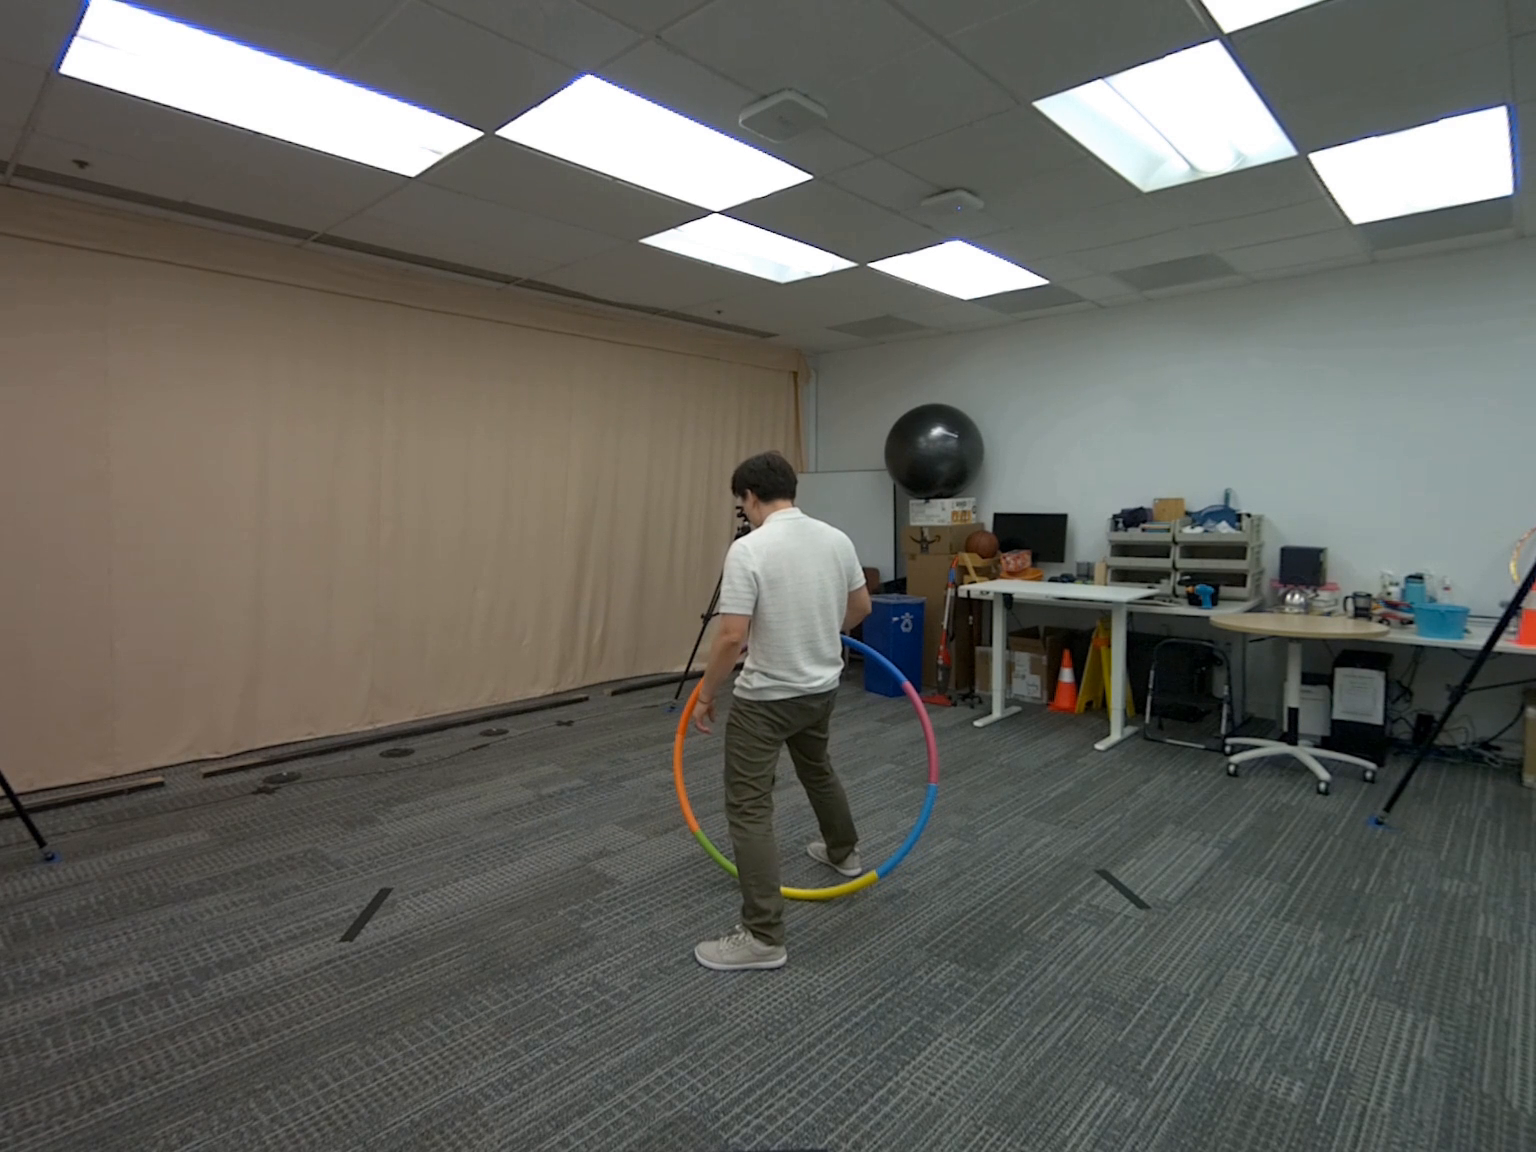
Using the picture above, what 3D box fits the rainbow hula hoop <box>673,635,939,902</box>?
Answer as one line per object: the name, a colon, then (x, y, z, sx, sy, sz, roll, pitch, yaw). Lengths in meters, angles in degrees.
rainbow hula hoop: (0.120, 0.672, 3.122, 0.998, 0.986, 0.034, 1, -17, 19)
